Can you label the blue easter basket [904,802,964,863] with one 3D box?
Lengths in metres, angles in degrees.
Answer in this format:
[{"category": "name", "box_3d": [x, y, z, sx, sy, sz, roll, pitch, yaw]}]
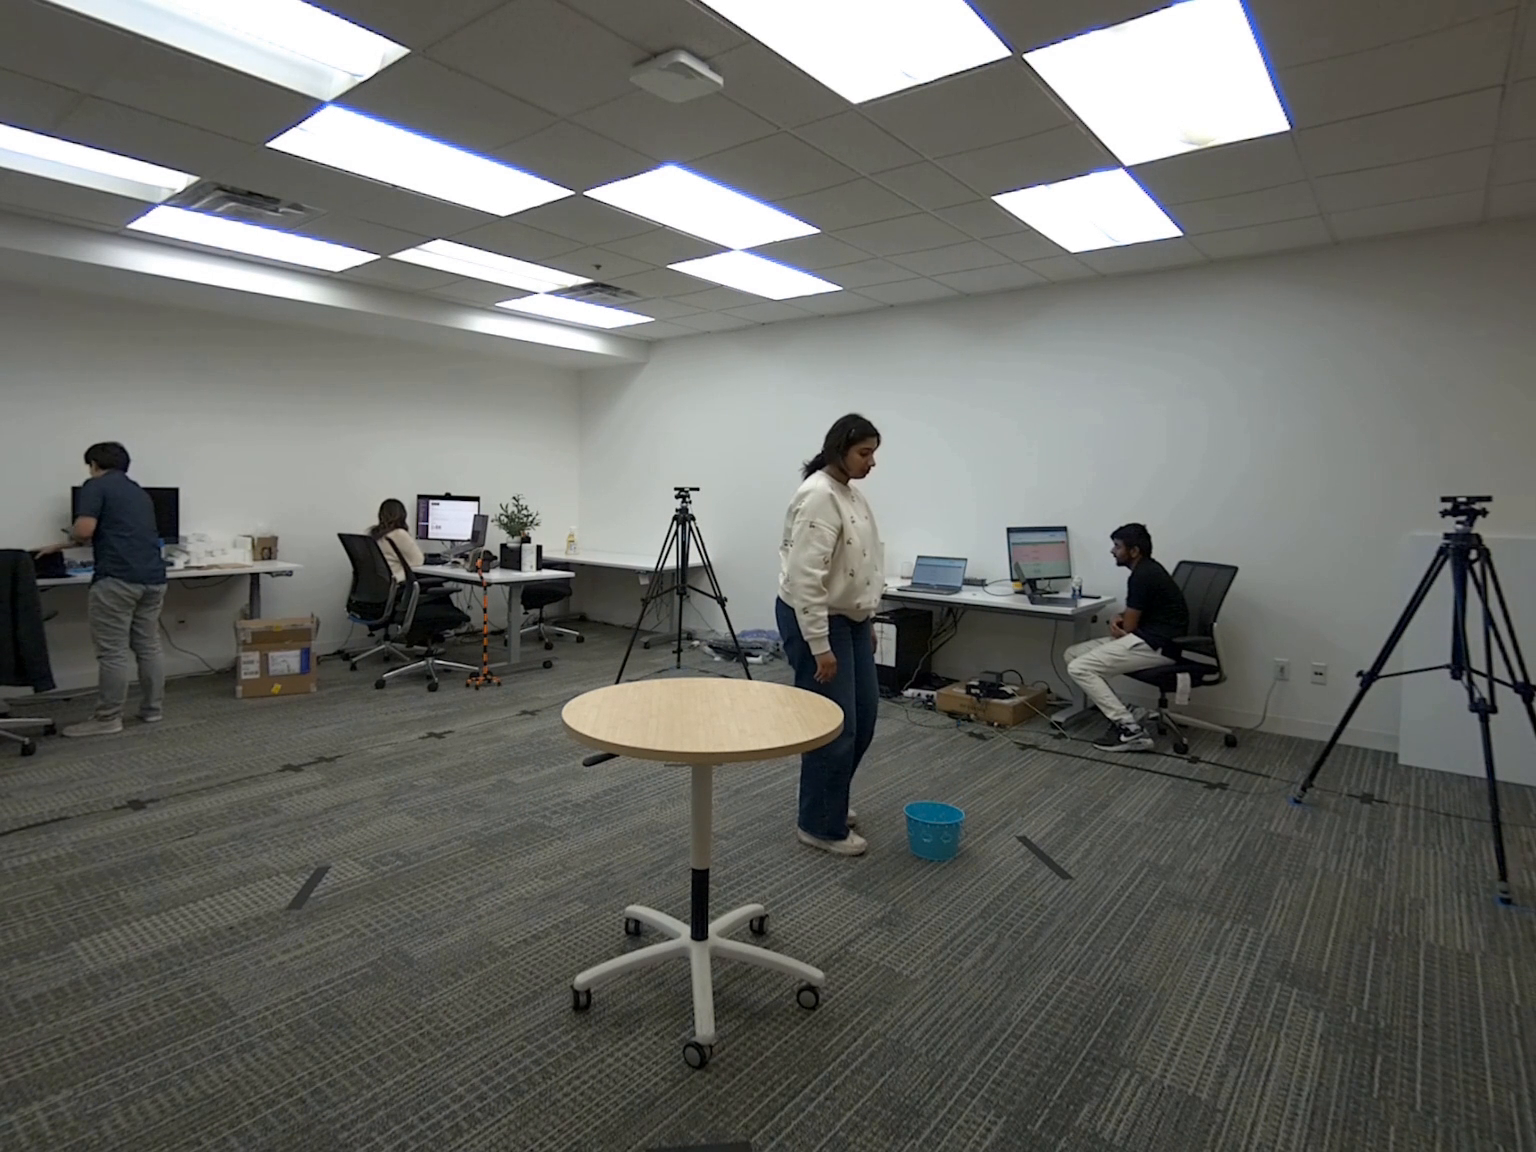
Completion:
[{"category": "blue easter basket", "box_3d": [0.646, 0.991, 3.309, 0.243, 0.155, 0.245, 1, 5, -2]}]
